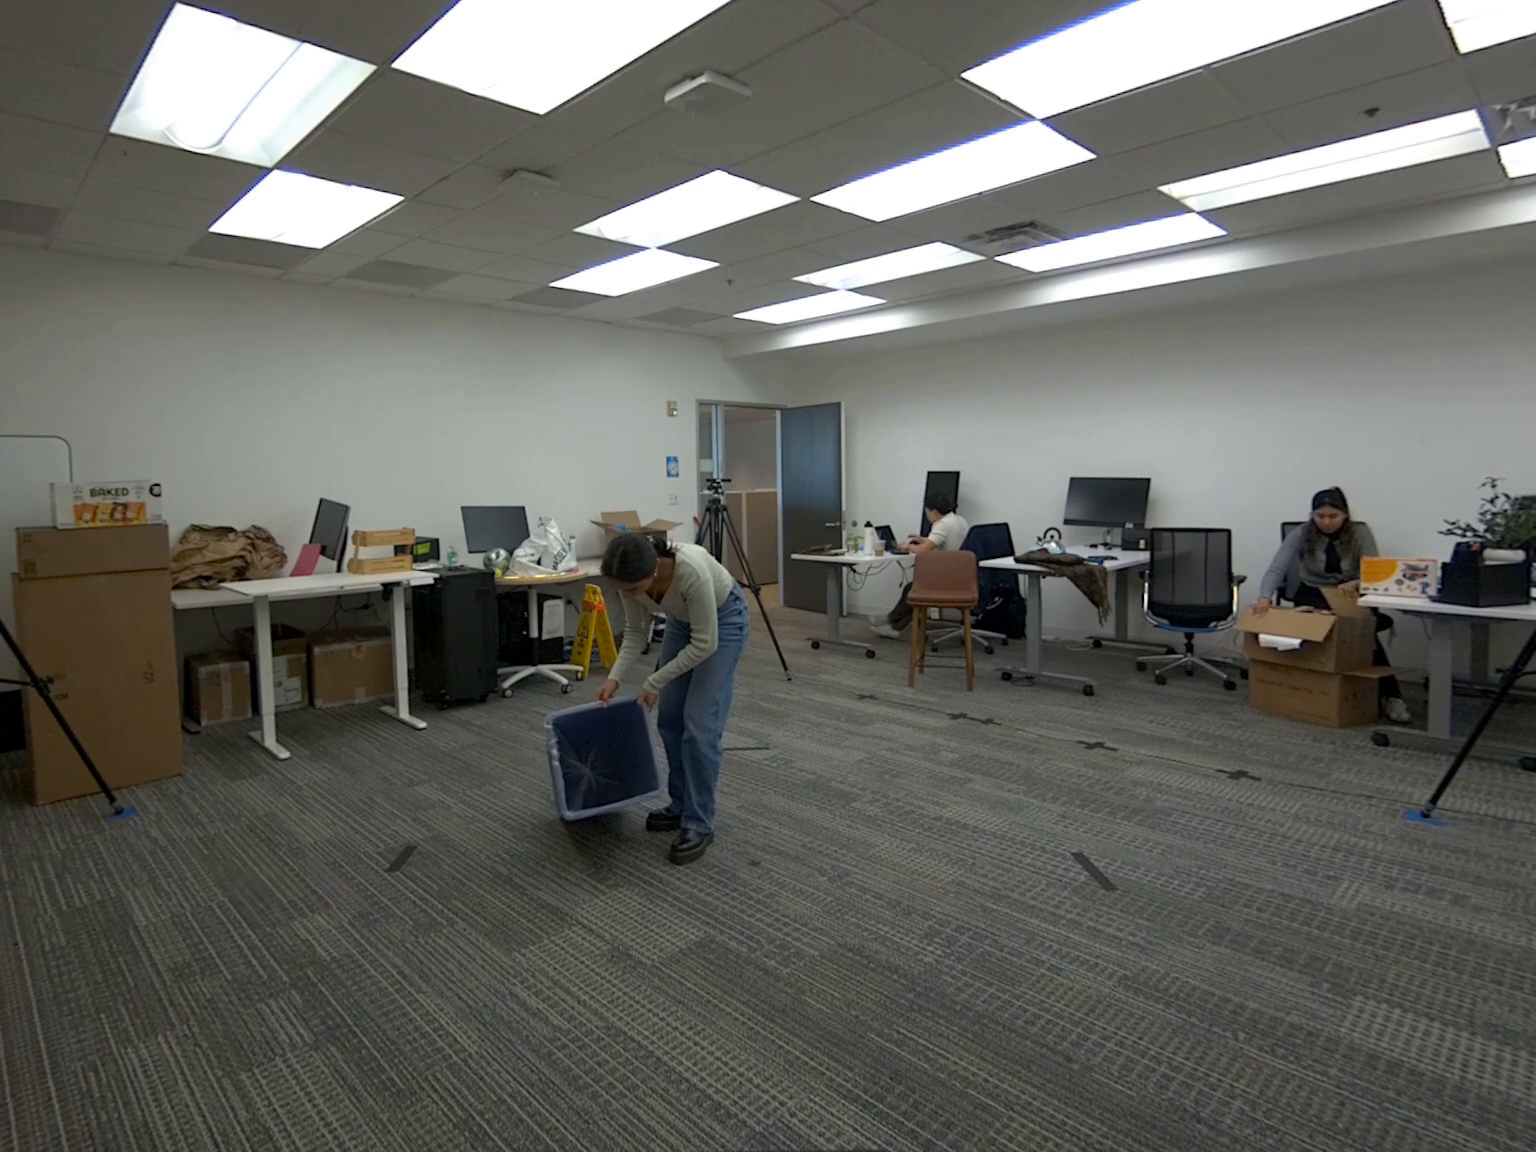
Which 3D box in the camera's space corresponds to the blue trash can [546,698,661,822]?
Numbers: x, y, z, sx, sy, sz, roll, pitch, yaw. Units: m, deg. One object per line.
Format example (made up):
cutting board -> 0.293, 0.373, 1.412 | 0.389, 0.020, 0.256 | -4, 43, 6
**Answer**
blue trash can -> -0.668, 0.727, 3.330 | 0.369, 0.384, 0.712 | -10, -14, -18
